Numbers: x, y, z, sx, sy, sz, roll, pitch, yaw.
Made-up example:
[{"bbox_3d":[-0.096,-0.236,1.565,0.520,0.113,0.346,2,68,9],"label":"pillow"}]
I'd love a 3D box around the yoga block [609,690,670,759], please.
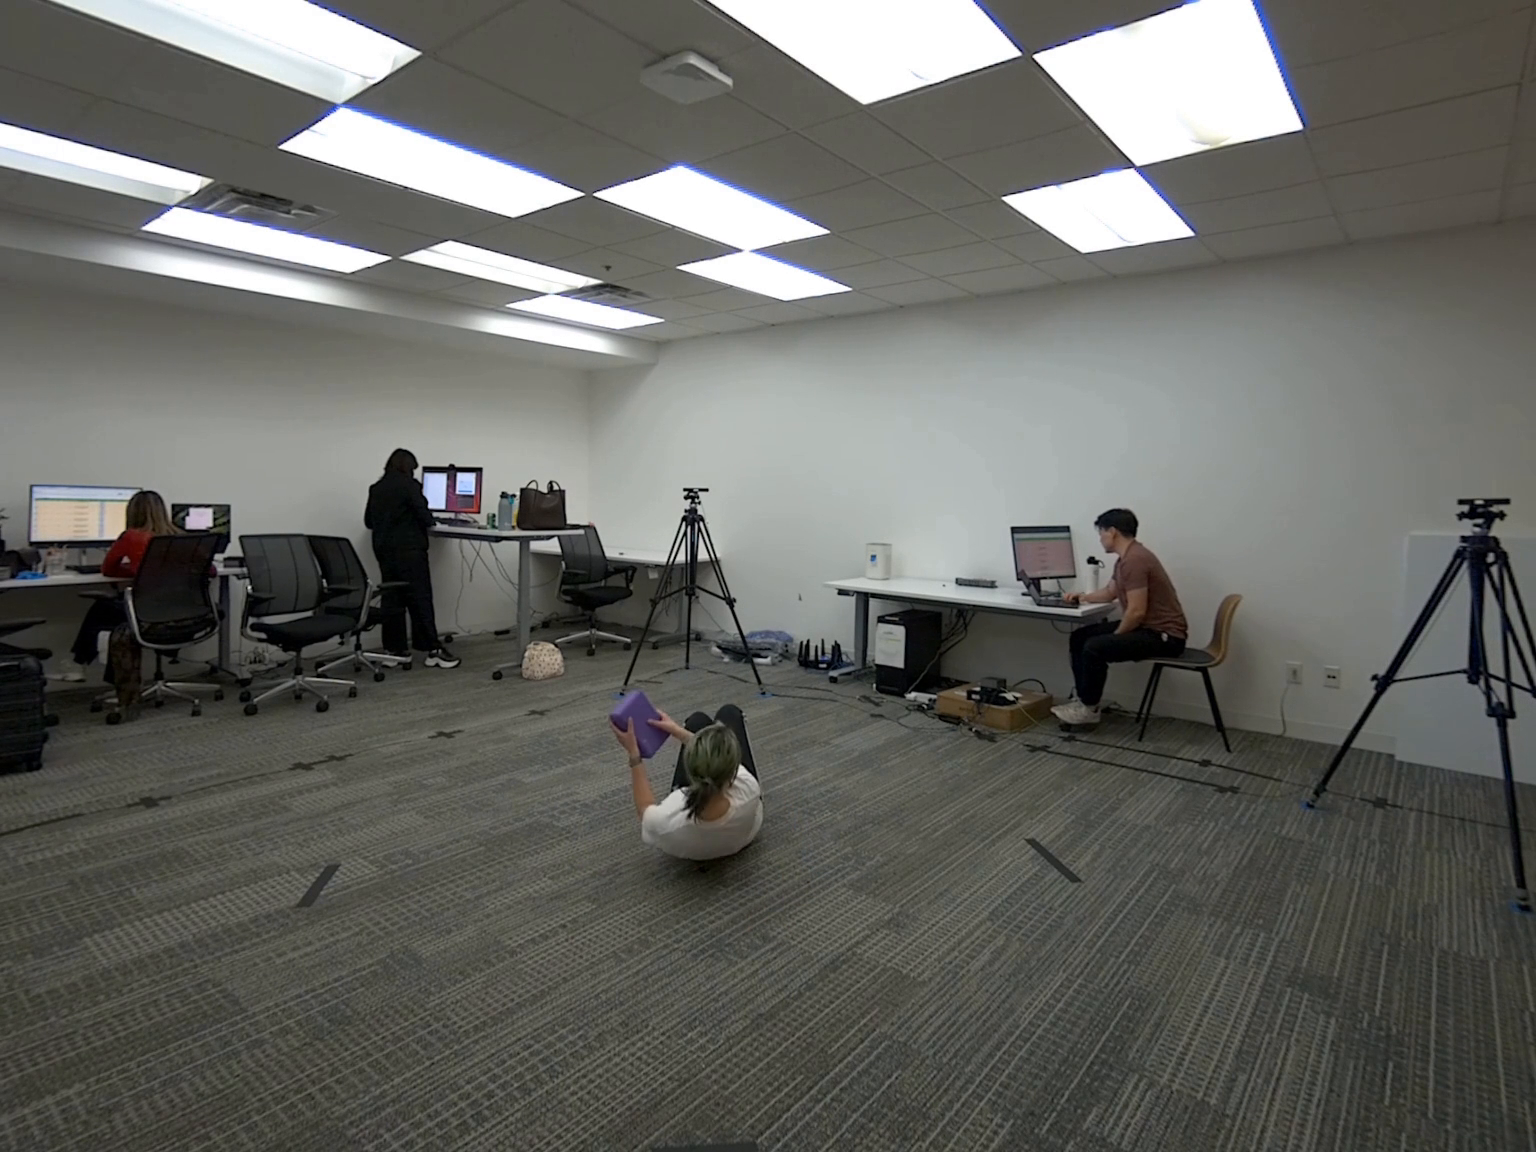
[{"bbox_3d":[-0.503,0.580,3.296,0.078,0.224,0.149,-15,23,44],"label":"yoga block"}]
